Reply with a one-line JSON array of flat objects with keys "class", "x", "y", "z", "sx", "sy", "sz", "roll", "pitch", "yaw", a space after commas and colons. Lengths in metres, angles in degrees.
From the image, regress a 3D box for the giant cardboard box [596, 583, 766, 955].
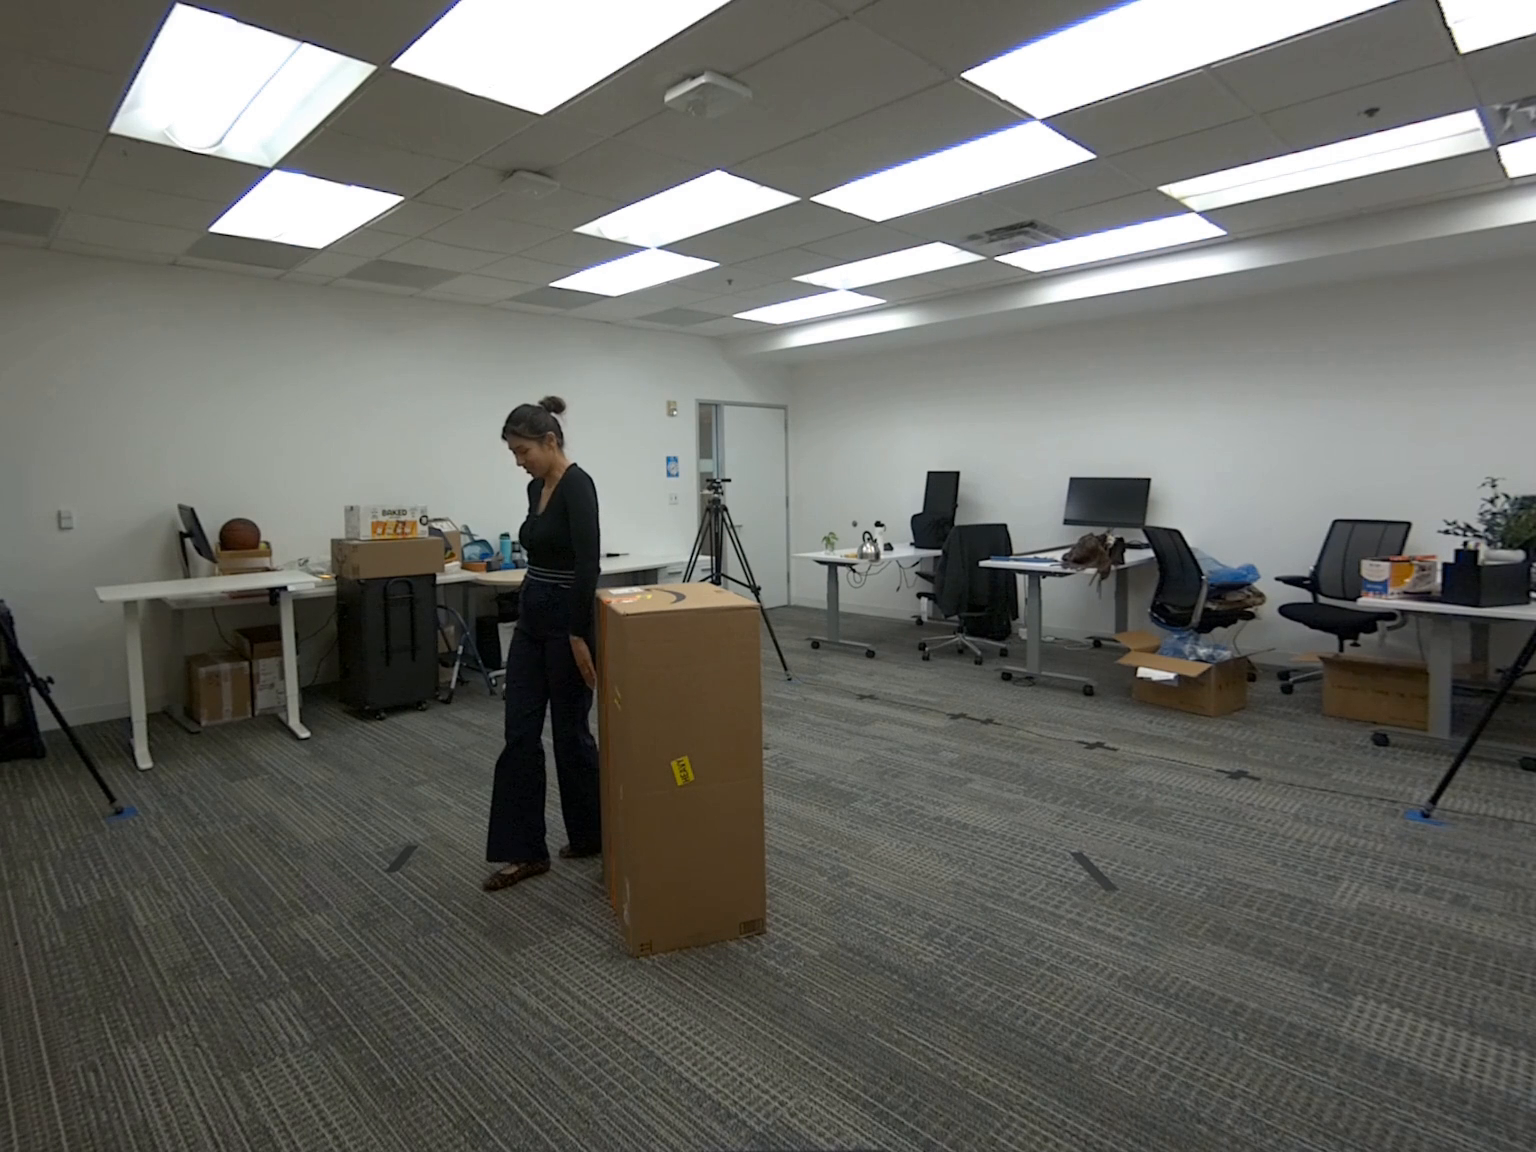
[{"class": "giant cardboard box", "x": -0.302, "y": 0.576, "z": 2.793, "sx": 0.419, "sy": 1.022, "sz": 0.590, "roll": -3, "pitch": 5, "yaw": -20}]
